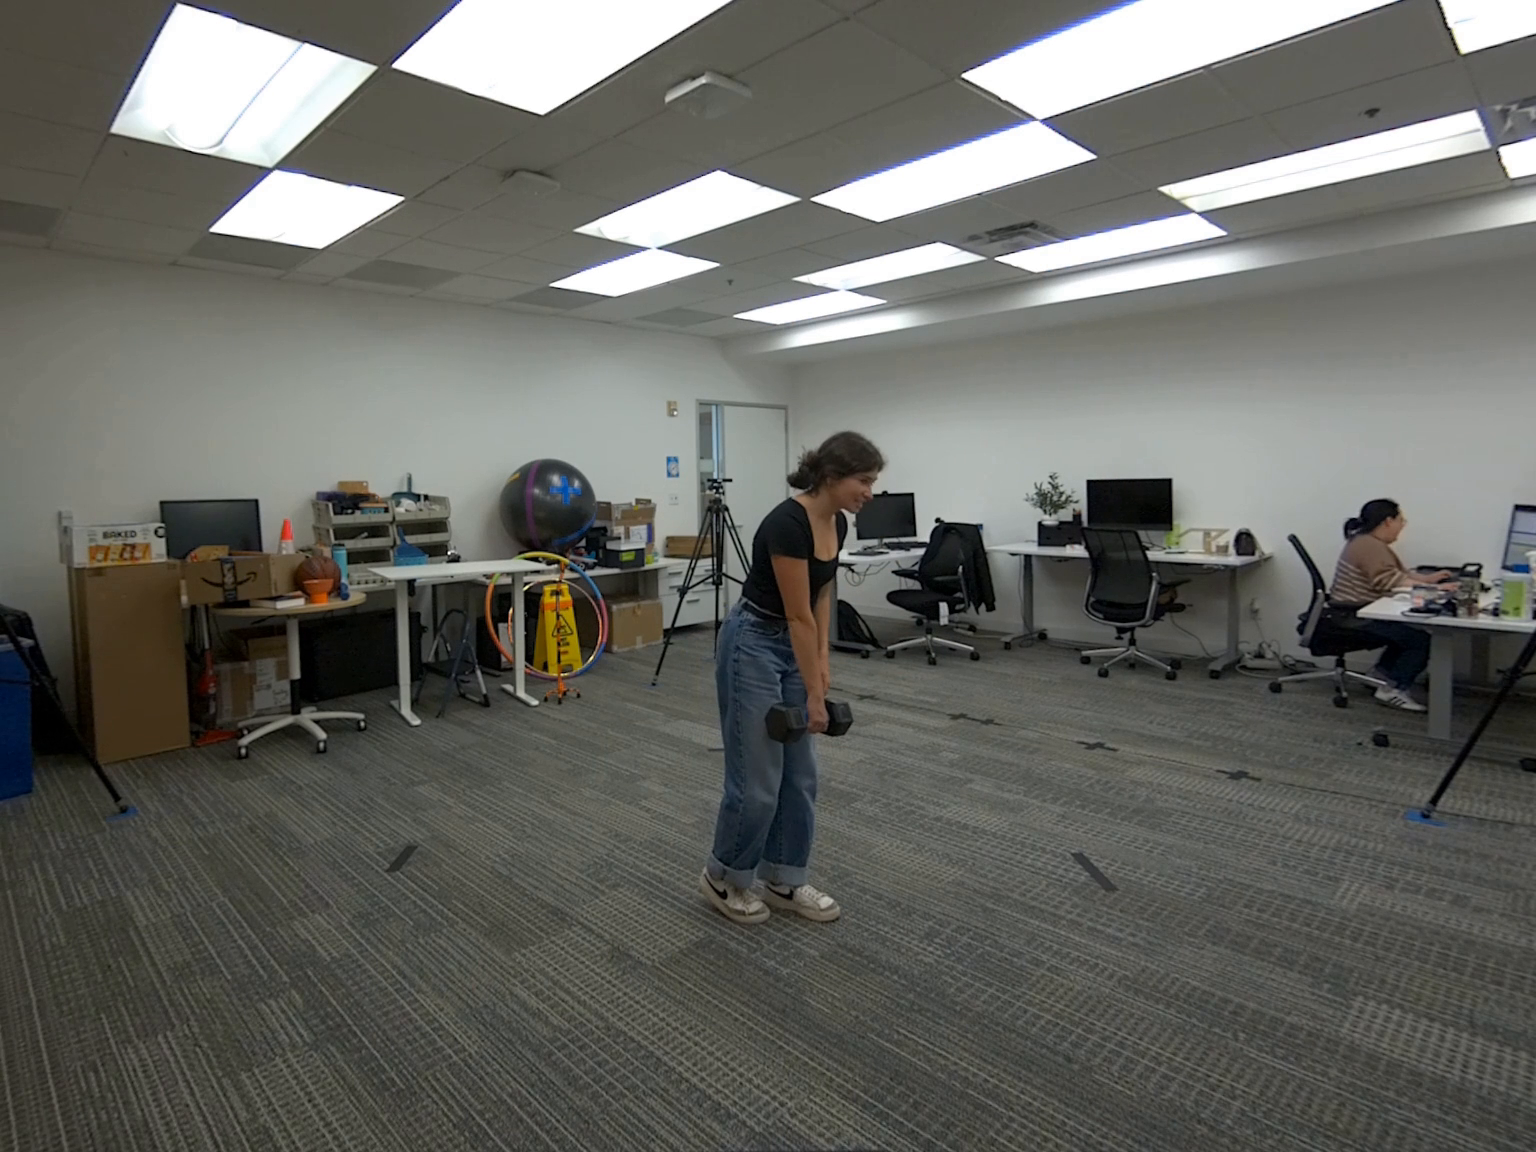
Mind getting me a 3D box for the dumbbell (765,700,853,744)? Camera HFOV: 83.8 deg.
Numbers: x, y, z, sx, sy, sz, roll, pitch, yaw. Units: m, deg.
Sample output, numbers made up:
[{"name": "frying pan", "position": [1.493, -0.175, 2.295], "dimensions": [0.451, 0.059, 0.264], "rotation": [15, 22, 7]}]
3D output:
[{"name": "dumbbell", "position": [0.124, 0.445, 2.613], "dimensions": [0.285, 0.122, 0.113], "rotation": [1, 36, -45]}]
